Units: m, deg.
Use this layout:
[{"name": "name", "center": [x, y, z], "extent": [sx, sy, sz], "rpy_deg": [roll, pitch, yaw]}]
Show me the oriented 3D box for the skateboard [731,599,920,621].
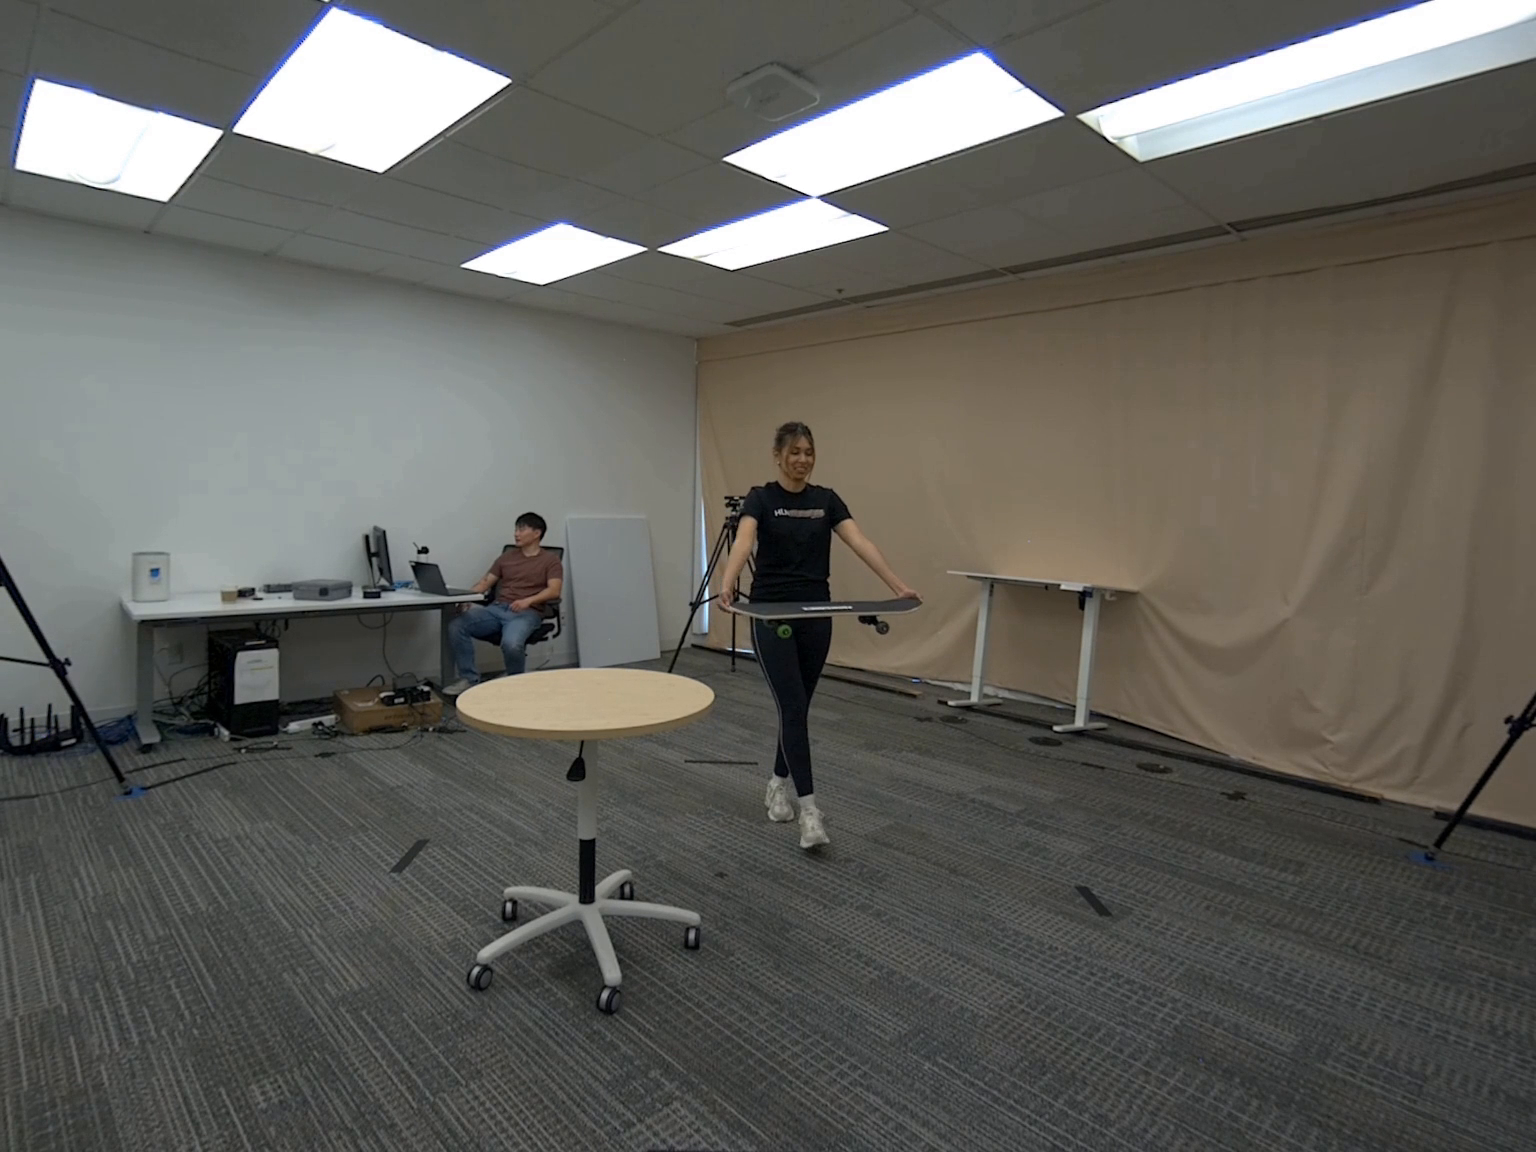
[{"name": "skateboard", "center": [0.214, 0.158, 3.201], "extent": [0.775, 0.109, 0.197], "rpy_deg": [-2, 12, -17]}]
